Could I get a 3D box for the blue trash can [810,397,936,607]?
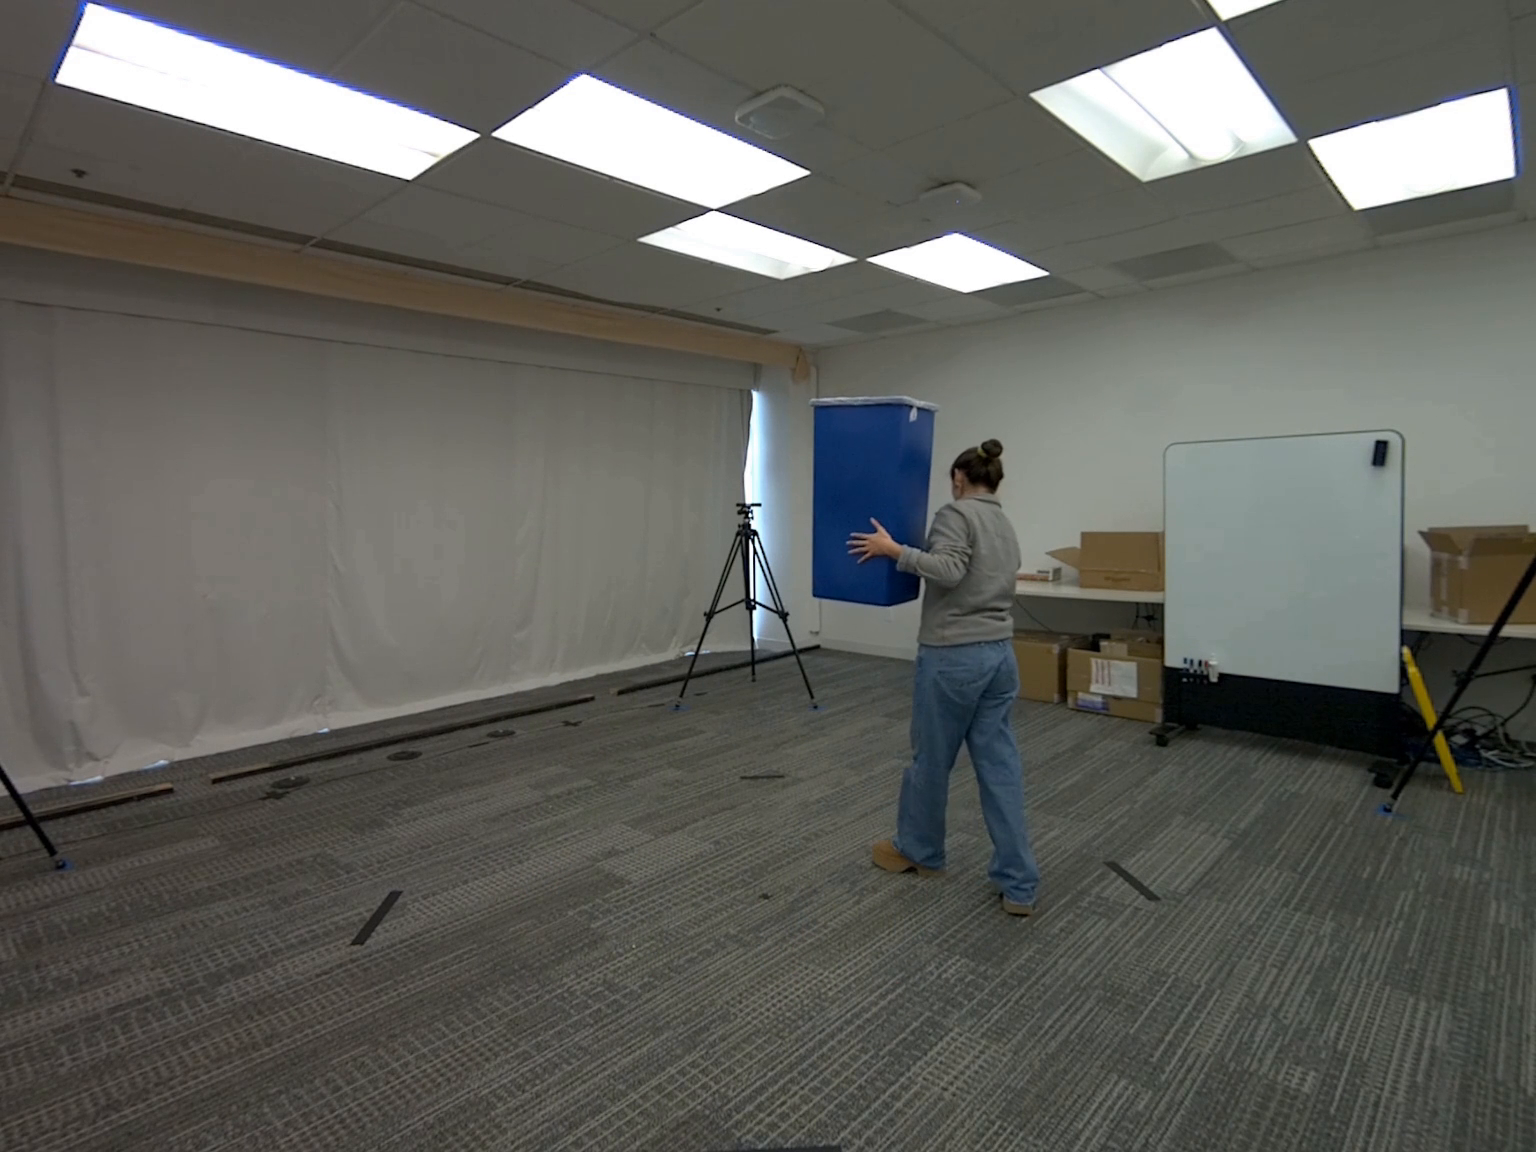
[{"bbox_3d":[0.373,-0.281,3.066,0.386,0.711,0.367,6,6,32],"label":"blue trash can"}]
